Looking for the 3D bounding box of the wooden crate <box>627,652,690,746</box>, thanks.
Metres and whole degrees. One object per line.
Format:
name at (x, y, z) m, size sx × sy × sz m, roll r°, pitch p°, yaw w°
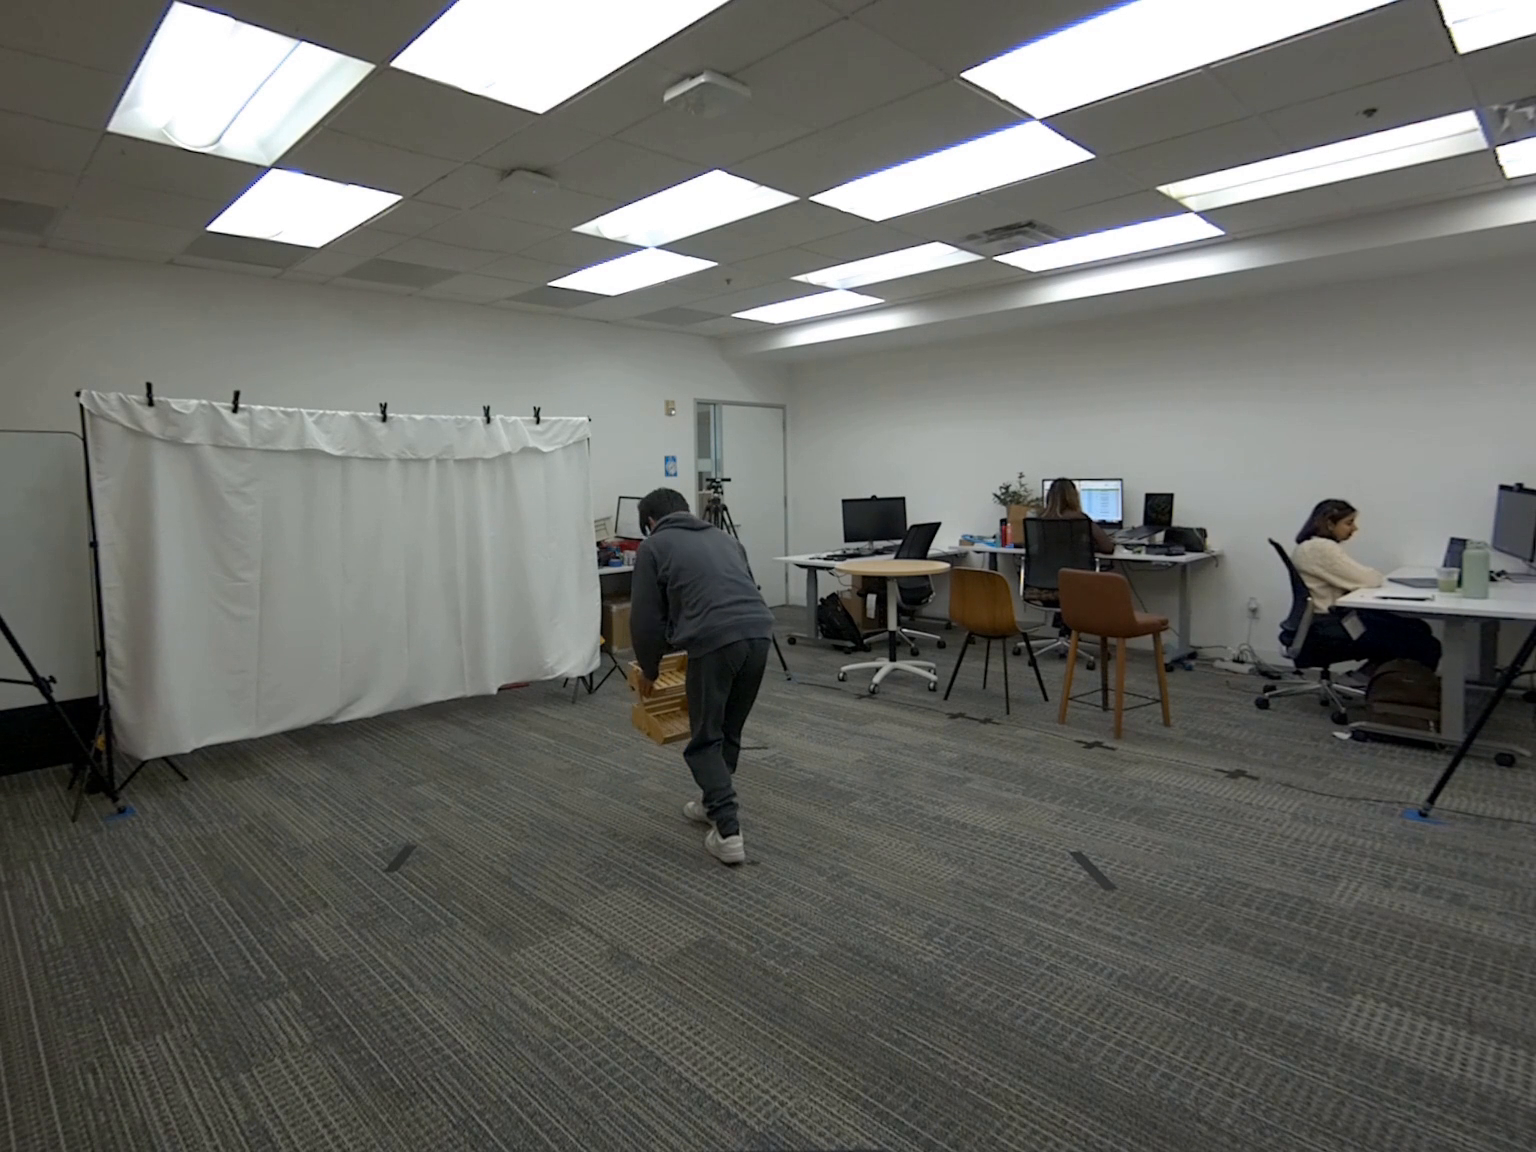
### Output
wooden crate at (-0.394, 0.513, 3.633) m, size 0.316 × 0.270 × 0.313 m, roll -5°, pitch 17°, yaw -39°
